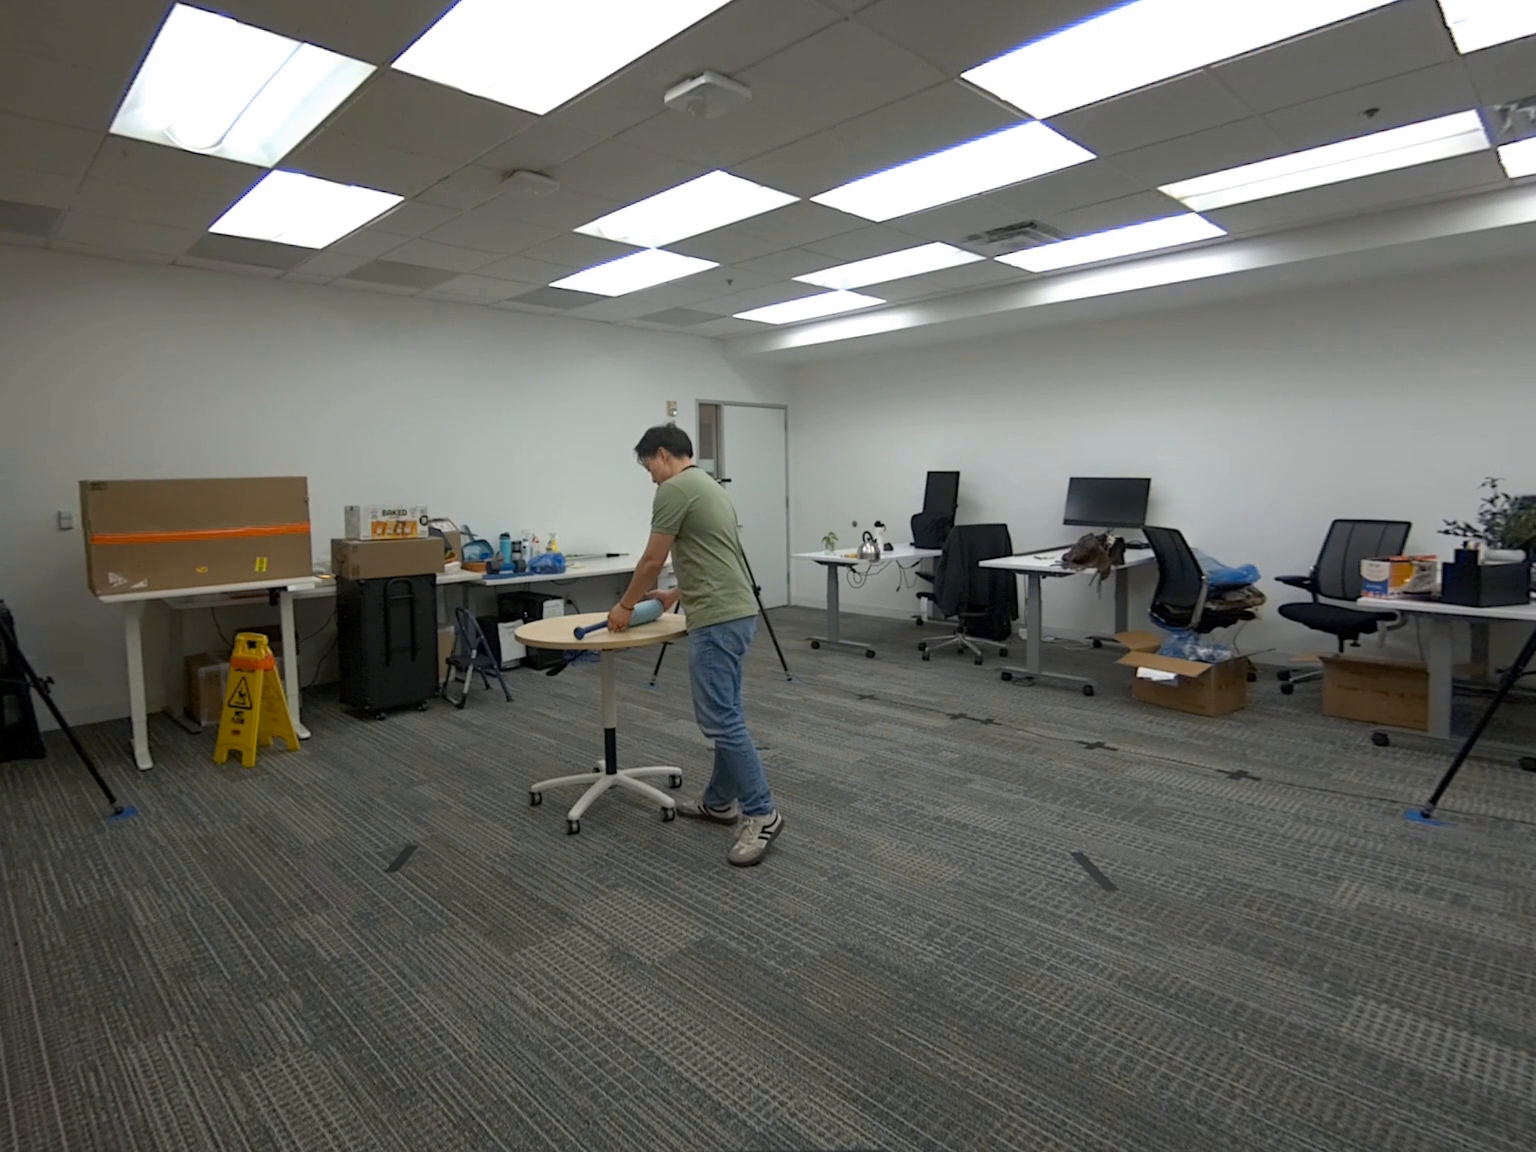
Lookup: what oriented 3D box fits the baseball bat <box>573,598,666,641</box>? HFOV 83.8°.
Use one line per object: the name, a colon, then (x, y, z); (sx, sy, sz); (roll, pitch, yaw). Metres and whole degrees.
baseball bat: (-0.624, 0.185, 3.569); (0.091, 0.088, 0.533); (2, 9, 27)
